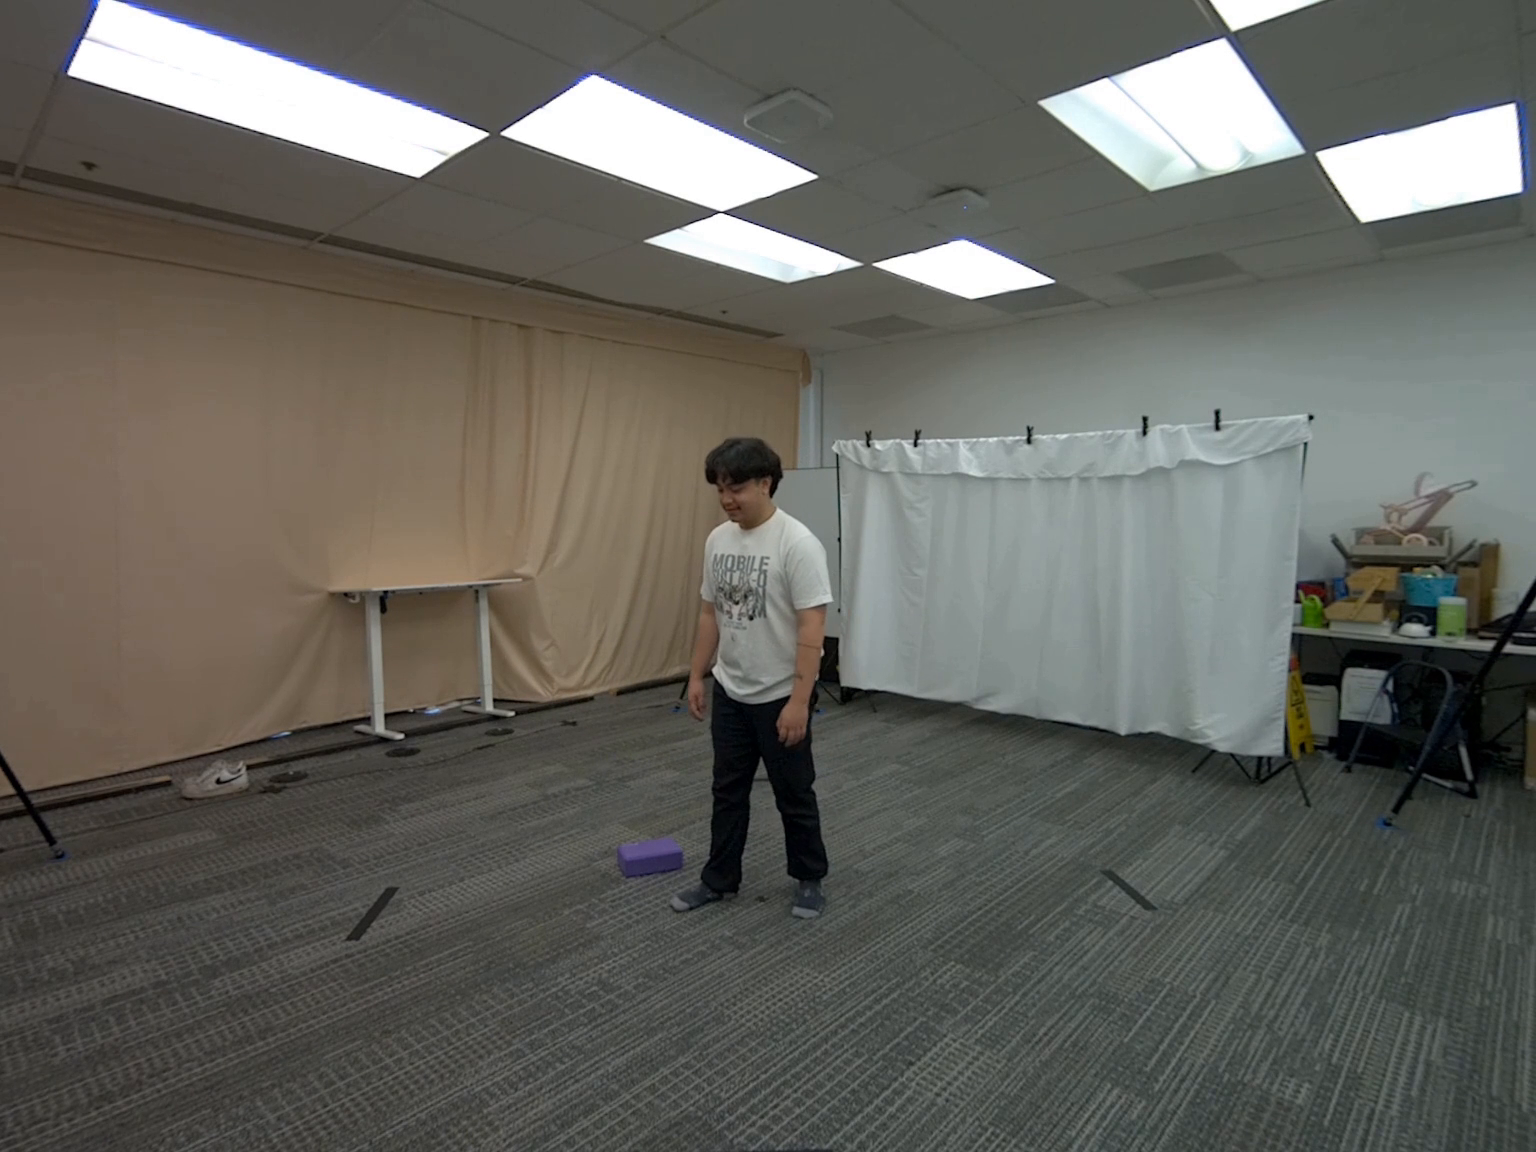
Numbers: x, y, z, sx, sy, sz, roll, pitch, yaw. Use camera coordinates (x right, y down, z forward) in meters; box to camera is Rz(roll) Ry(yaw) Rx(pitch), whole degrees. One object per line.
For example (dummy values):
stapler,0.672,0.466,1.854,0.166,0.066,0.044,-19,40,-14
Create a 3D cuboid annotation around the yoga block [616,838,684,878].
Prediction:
yoga block,-0.457,1.085,3.256,0.225,0.076,0.152,-3,5,-20
